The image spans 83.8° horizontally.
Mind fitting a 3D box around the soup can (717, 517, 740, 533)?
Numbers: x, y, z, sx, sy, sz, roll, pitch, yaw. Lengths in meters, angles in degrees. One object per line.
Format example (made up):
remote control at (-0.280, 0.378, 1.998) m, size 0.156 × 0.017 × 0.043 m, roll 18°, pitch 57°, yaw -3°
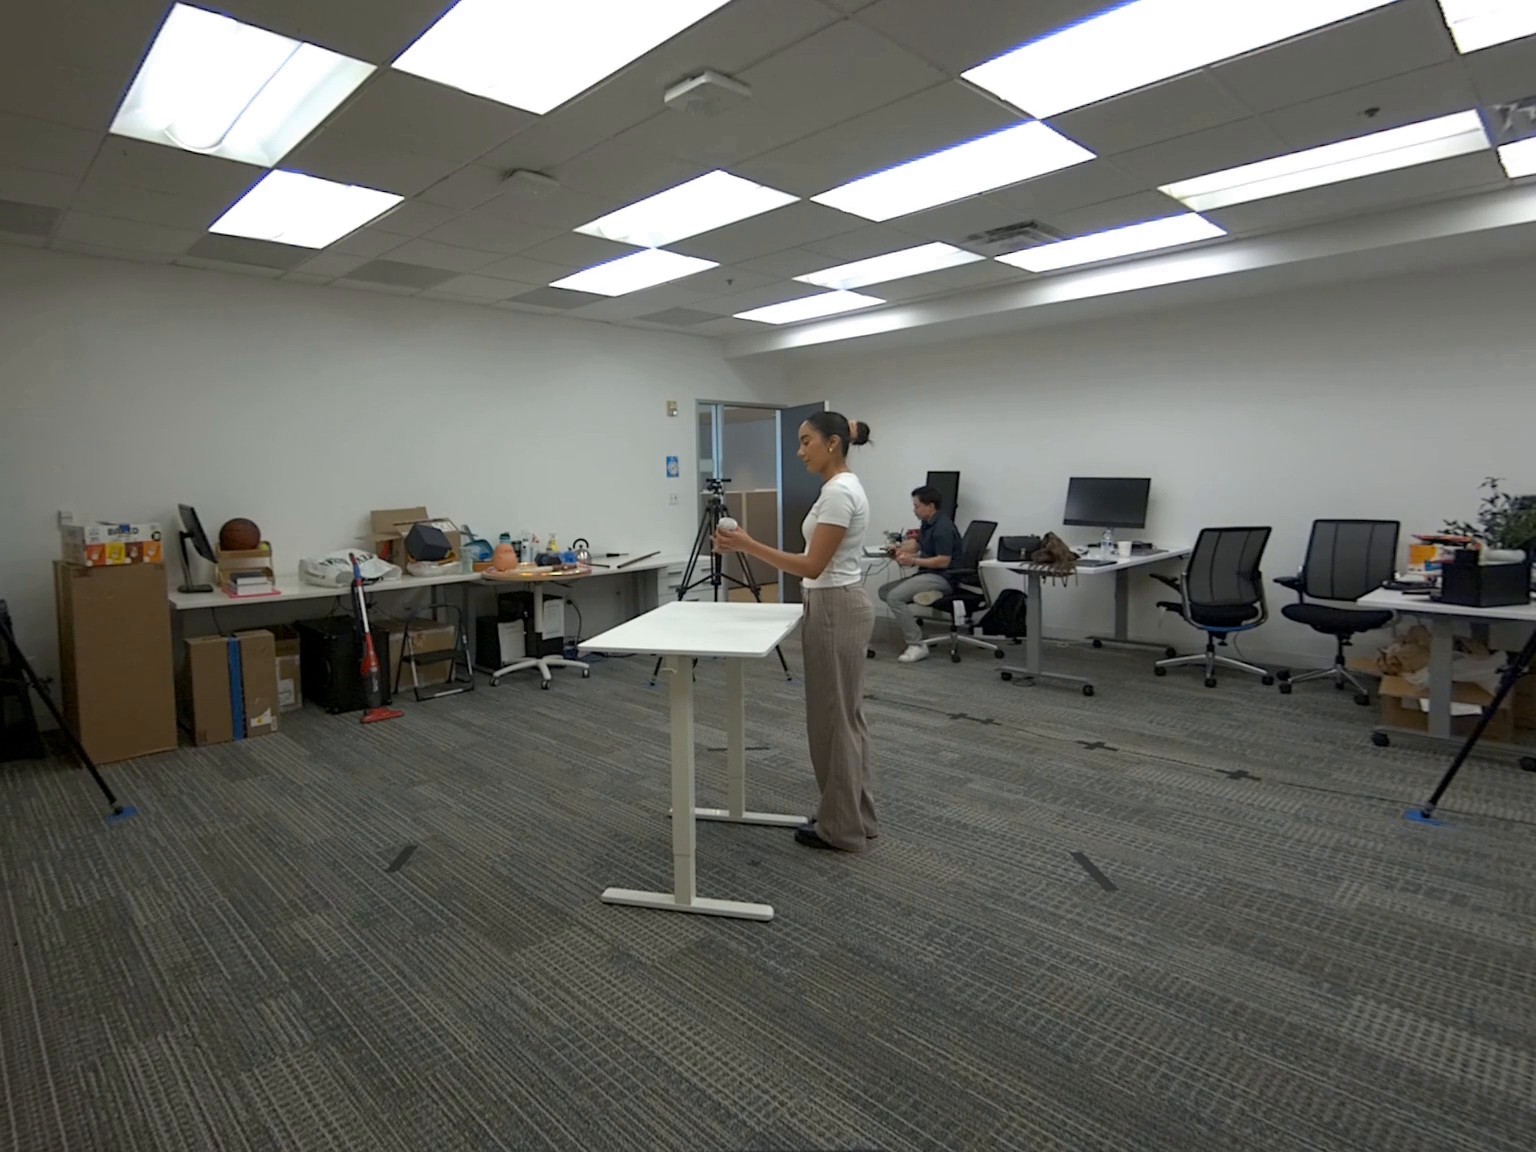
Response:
soup can at (-0.140, -0.152, 3.100) m, size 0.067 × 0.120 × 0.068 m, roll 7°, pitch 18°, yaw -4°
